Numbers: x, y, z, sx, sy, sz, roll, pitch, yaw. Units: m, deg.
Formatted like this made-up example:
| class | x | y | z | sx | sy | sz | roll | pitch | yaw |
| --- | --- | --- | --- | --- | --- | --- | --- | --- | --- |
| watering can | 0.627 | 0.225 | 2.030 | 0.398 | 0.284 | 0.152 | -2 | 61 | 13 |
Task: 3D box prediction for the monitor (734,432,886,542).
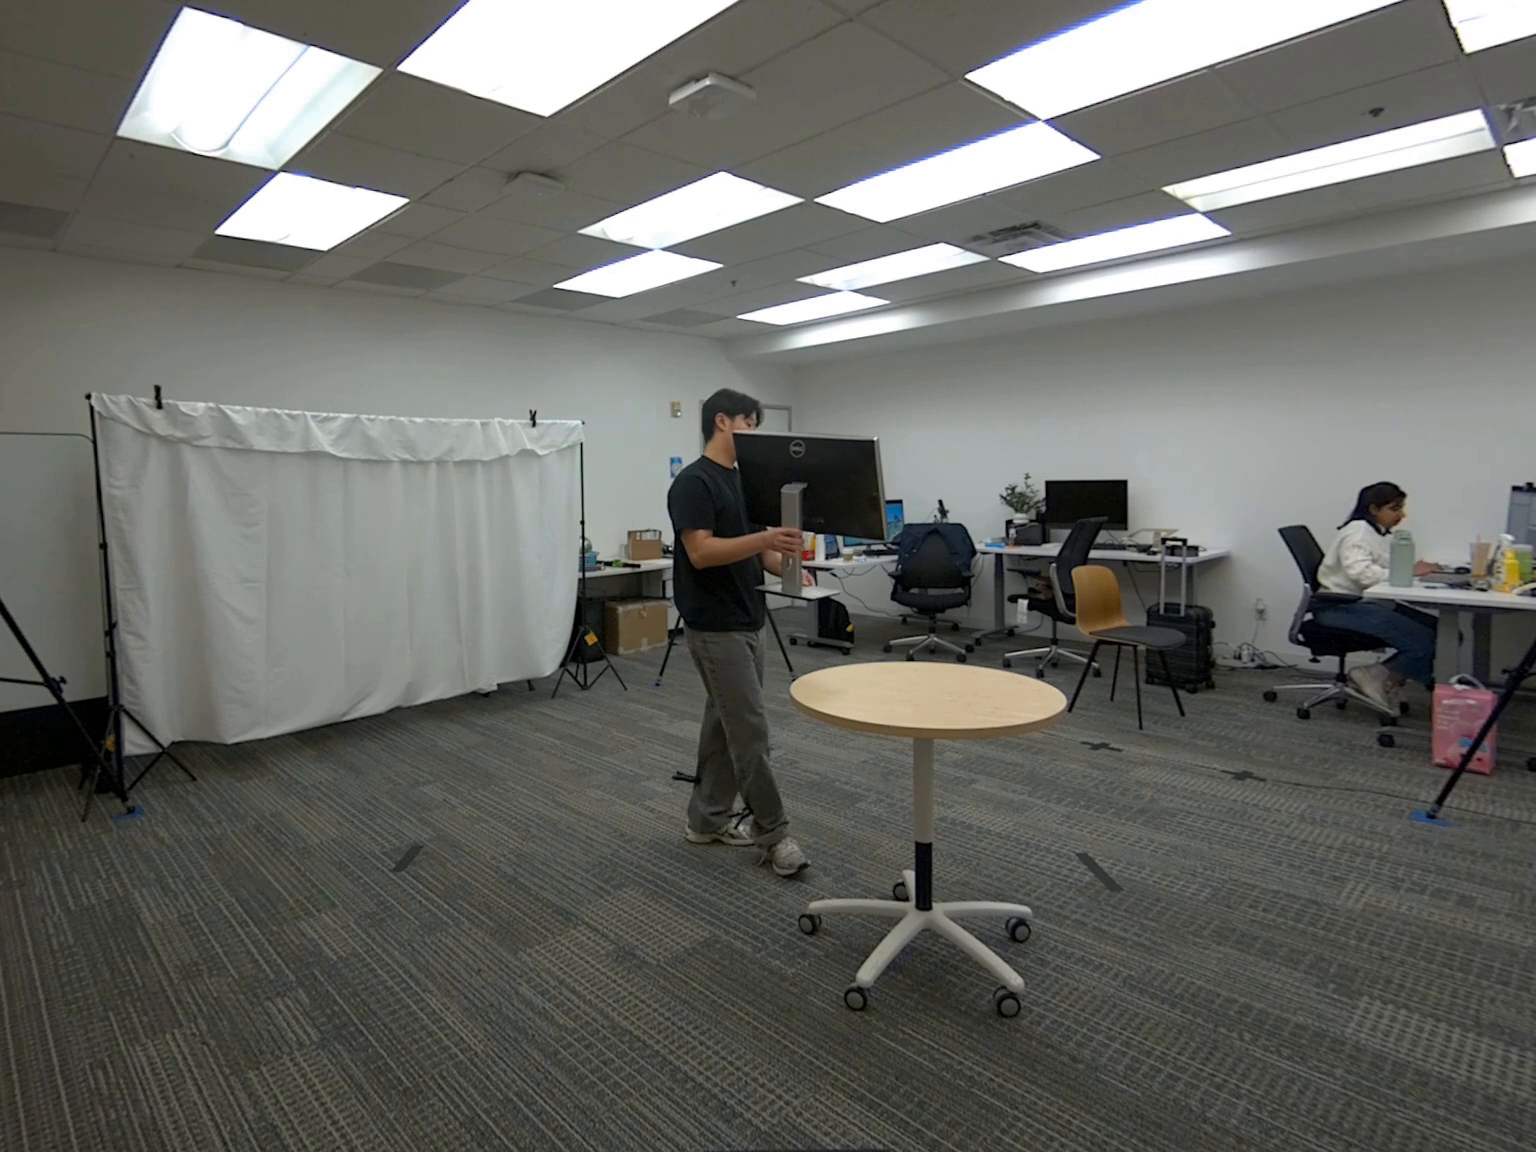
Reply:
| class | x | y | z | sx | sy | sz | roll | pitch | yaw |
| --- | --- | --- | --- | --- | --- | --- | --- | --- | --- |
| monitor | 0.122 | -0.206 | 2.910 | 0.580 | 0.560 | 0.217 | 10 | 14 | 37 |
